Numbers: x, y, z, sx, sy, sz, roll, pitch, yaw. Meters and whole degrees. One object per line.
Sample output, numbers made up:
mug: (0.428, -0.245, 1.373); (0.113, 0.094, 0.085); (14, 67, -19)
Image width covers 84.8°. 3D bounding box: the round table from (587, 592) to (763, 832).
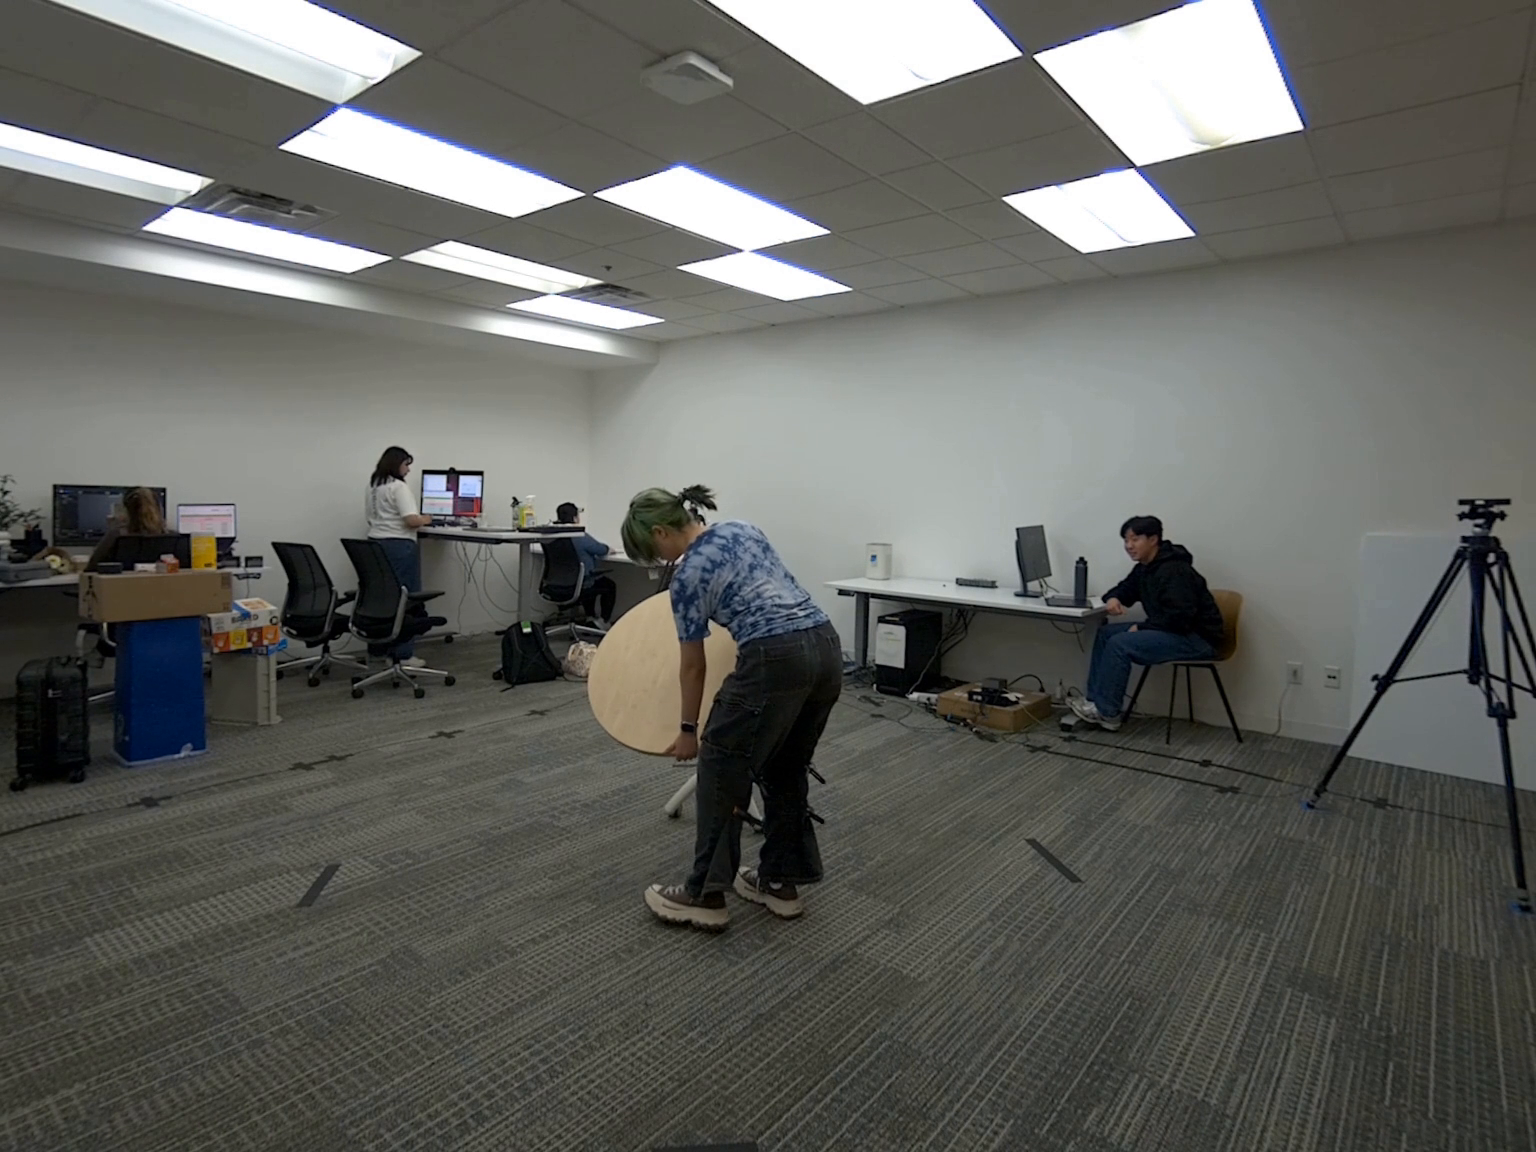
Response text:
round table: (-0.245, 0.579, 3.448); (0.770, 0.765, 0.787); (-10, 44, 8)
